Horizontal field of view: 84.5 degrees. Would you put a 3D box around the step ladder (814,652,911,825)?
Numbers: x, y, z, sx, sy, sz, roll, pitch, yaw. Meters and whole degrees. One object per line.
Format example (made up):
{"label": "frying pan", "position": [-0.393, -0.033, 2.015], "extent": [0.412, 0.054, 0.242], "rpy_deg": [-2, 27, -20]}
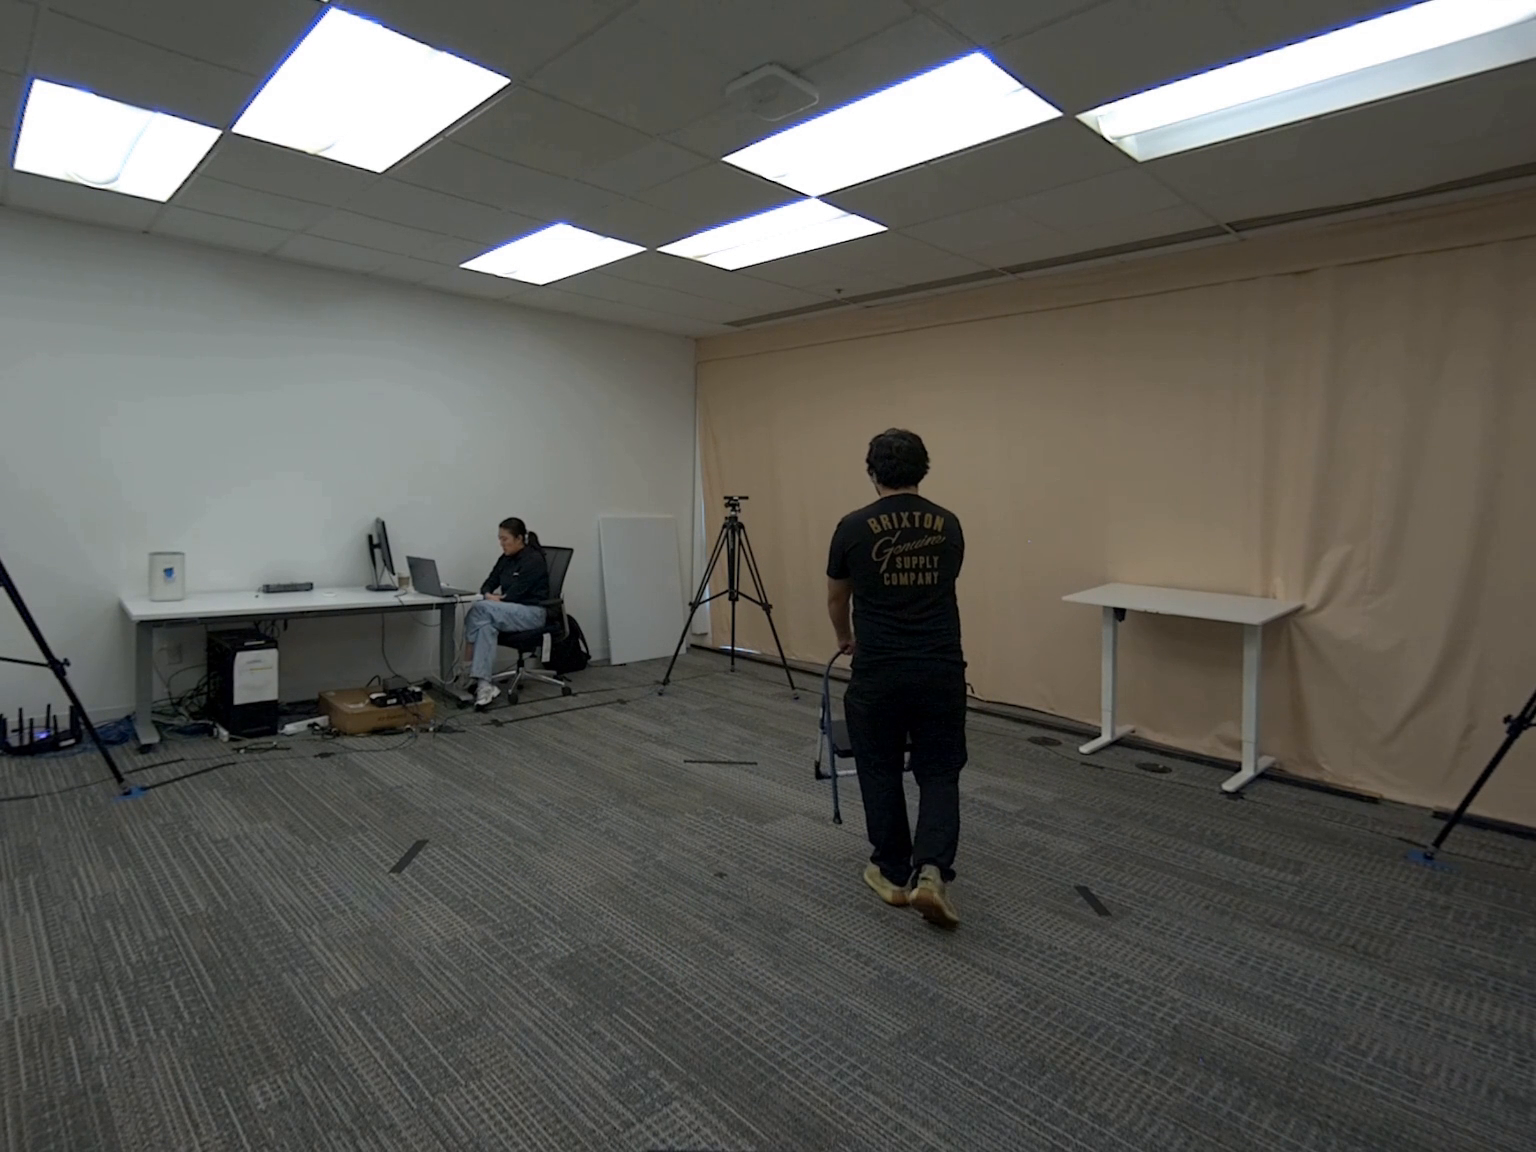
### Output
{"label": "step ladder", "position": [0.421, 0.582, 3.252], "extent": [0.427, 0.599, 0.355], "rpy_deg": [-3, 15, -10]}
